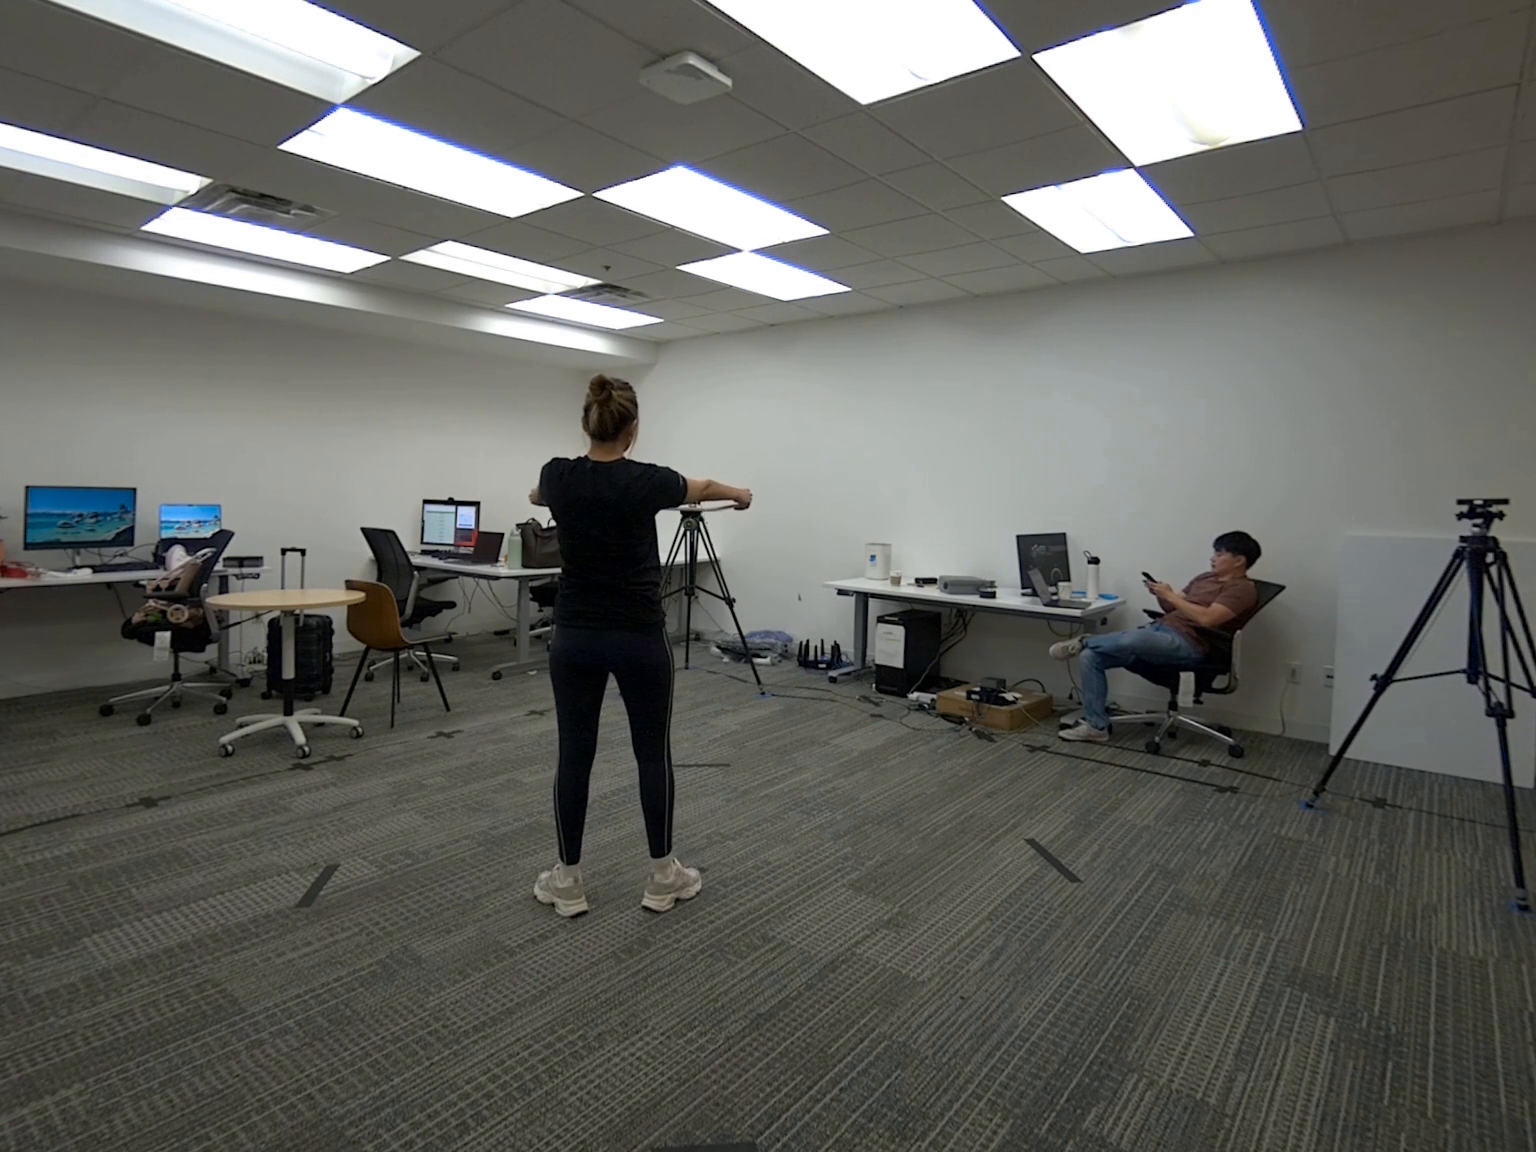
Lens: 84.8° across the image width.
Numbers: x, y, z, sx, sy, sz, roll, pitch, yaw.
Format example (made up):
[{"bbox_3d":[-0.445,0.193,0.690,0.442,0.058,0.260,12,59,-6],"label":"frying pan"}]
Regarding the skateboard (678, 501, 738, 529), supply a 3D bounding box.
[{"bbox_3d":[-0.518,-0.238,3.296,0.786,0.110,0.193,1,1,1],"label":"skateboard"}]
